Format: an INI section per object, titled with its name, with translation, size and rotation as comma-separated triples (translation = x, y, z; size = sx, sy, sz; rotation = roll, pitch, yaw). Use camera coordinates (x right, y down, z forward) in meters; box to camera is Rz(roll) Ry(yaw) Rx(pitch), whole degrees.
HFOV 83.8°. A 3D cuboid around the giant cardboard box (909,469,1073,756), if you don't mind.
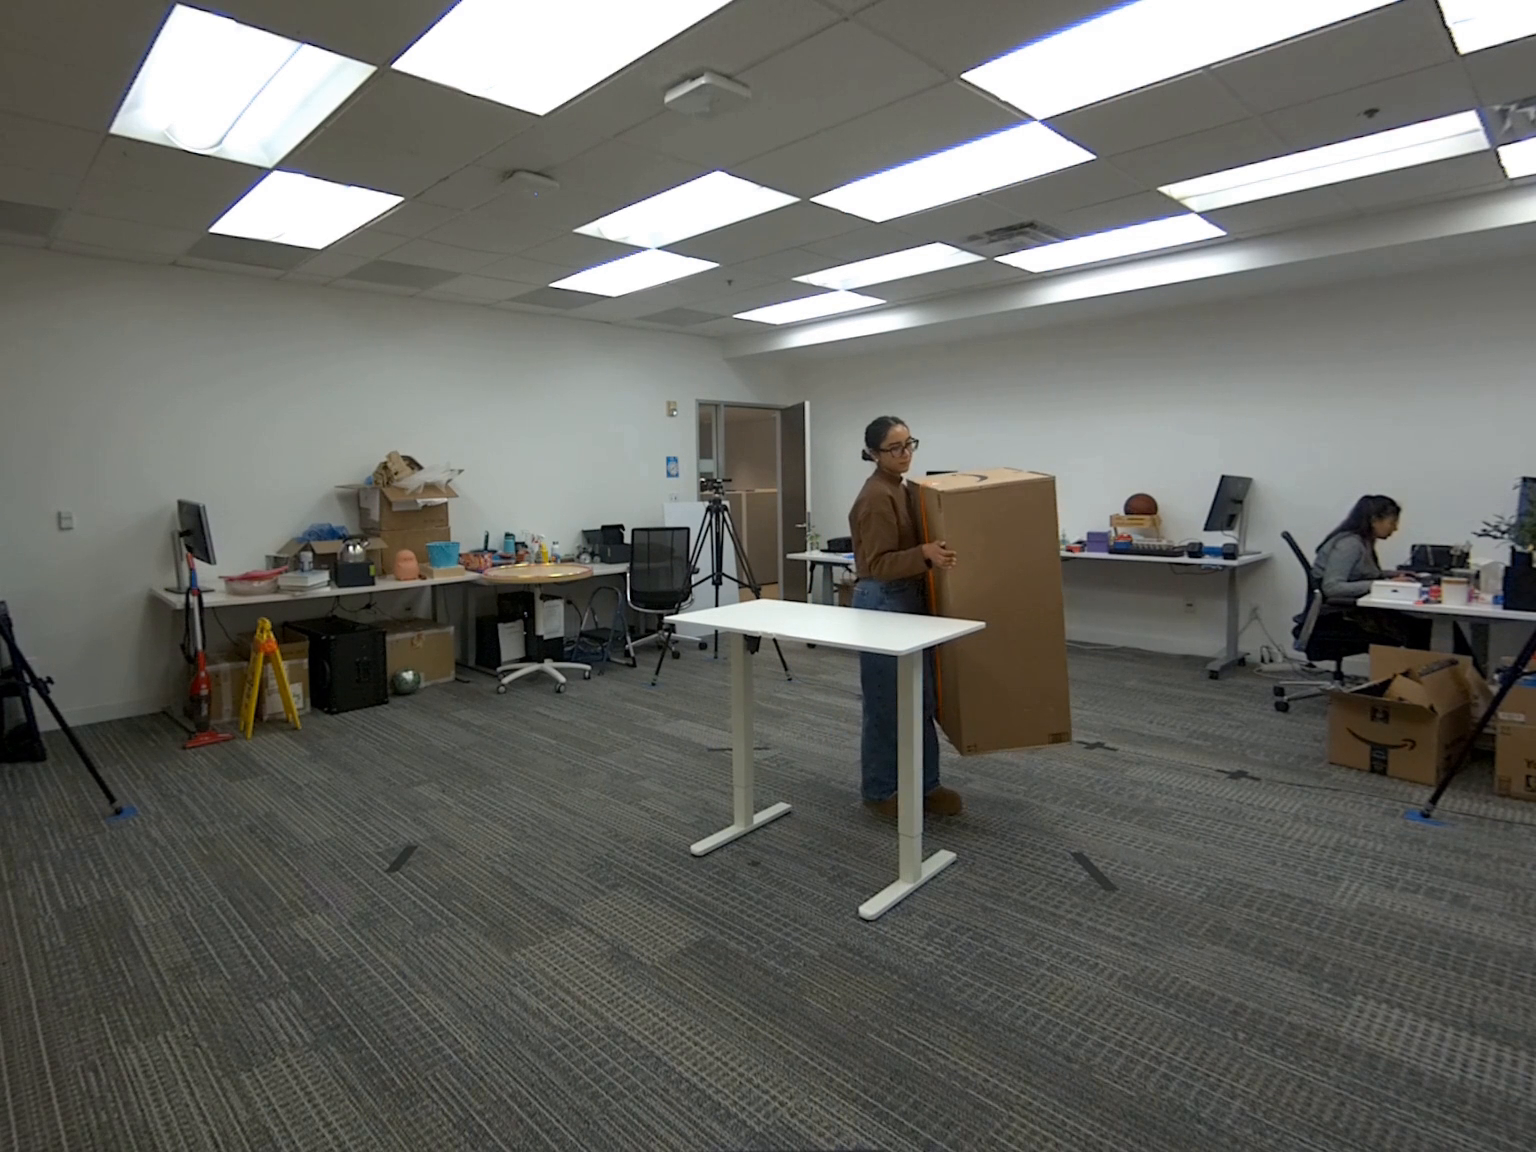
[giant cardboard box]
translation = 0.875, 0.112, 3.436
size = 0.426, 1.017, 0.582
rotation = -7, 8, -1
